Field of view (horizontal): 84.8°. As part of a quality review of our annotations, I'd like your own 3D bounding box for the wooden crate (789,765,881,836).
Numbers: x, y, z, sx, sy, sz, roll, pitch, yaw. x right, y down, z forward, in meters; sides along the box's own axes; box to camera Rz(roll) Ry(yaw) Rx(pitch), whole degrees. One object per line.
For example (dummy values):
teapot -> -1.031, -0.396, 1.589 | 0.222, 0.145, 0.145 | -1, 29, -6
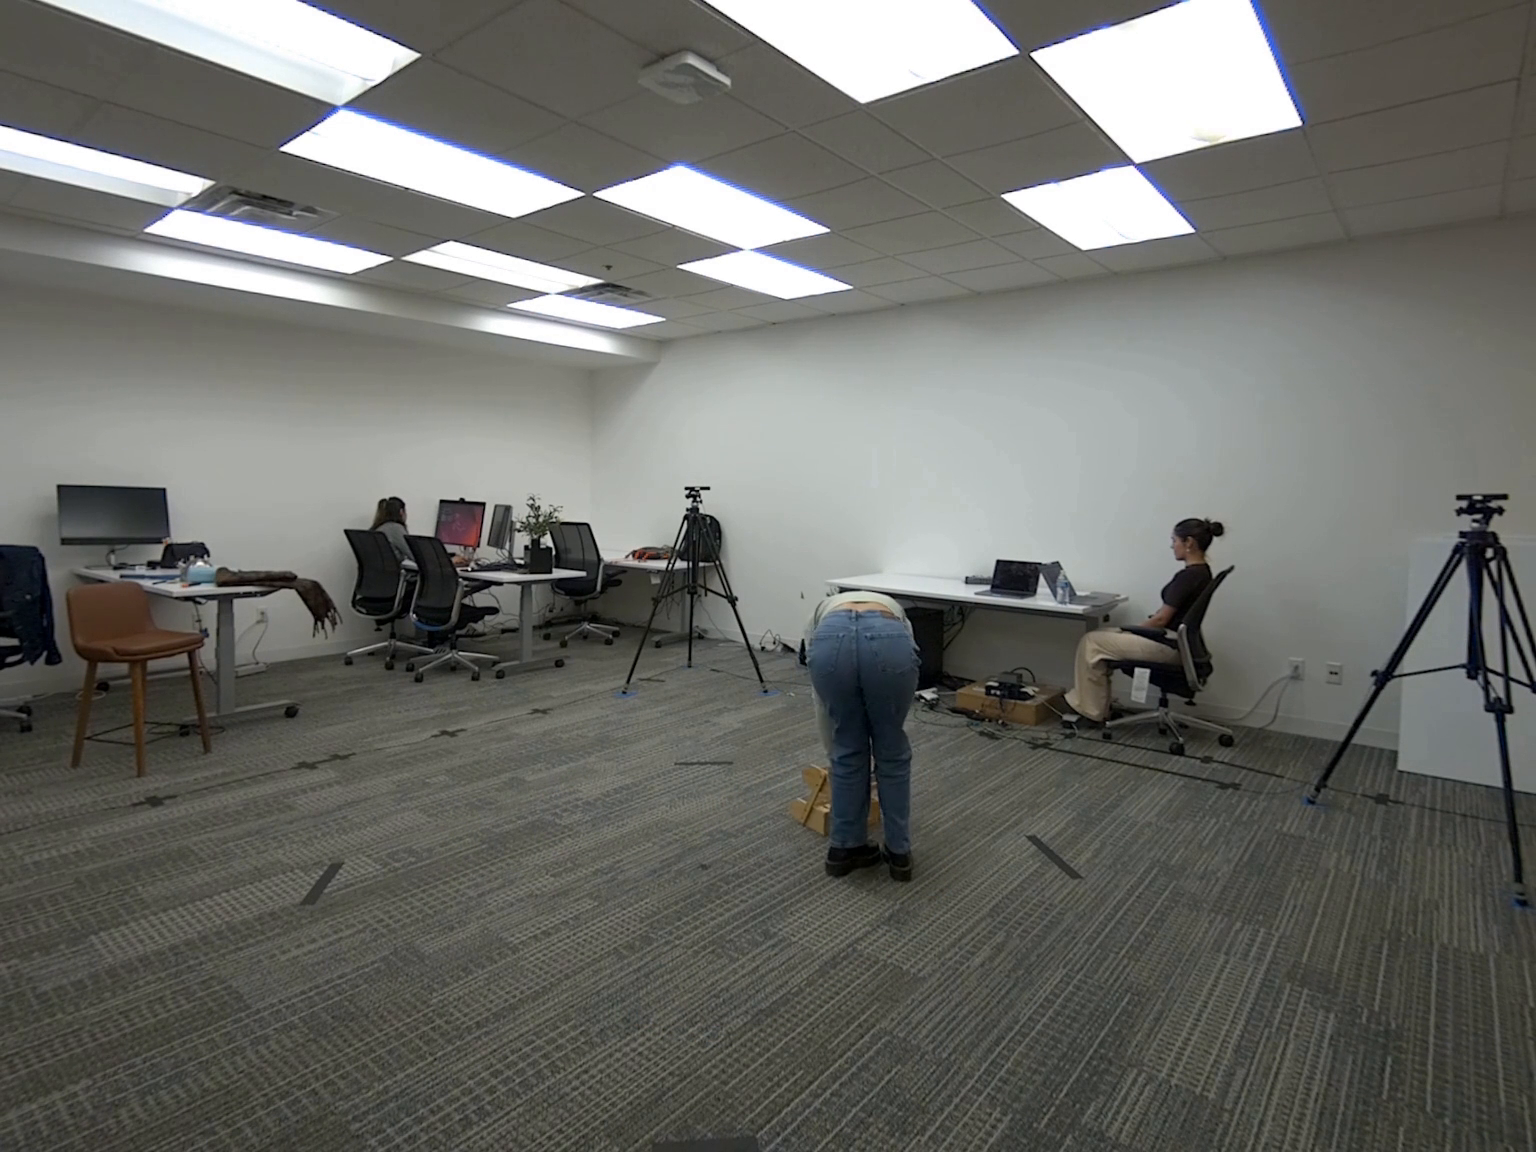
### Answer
wooden crate -> 0.283, 0.889, 3.578 | 0.315, 0.272, 0.312 | -2, 6, -34
